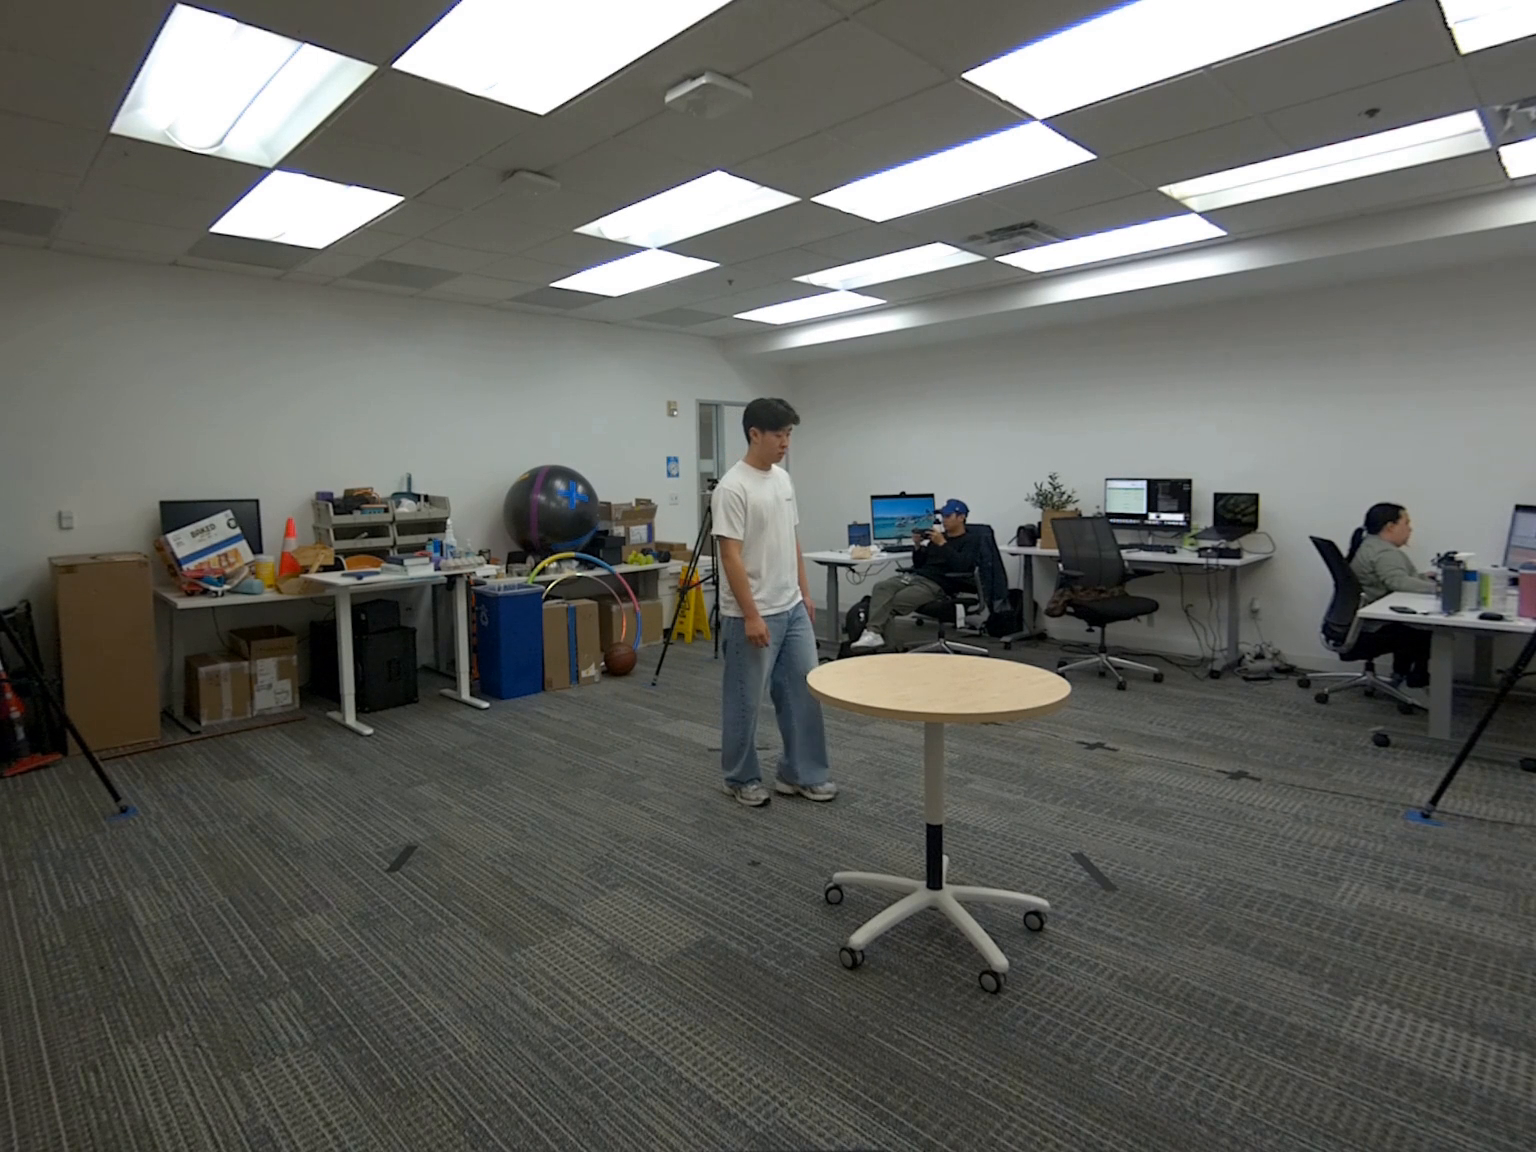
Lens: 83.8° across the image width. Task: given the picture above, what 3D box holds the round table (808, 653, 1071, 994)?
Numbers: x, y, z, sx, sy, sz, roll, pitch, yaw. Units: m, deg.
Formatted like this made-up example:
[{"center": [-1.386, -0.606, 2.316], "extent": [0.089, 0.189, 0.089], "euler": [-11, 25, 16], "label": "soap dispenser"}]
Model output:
[{"center": [0.511, 0.706, 2.602], "extent": [0.763, 0.791, 0.768], "euler": [-1, 5, -2], "label": "round table"}]
